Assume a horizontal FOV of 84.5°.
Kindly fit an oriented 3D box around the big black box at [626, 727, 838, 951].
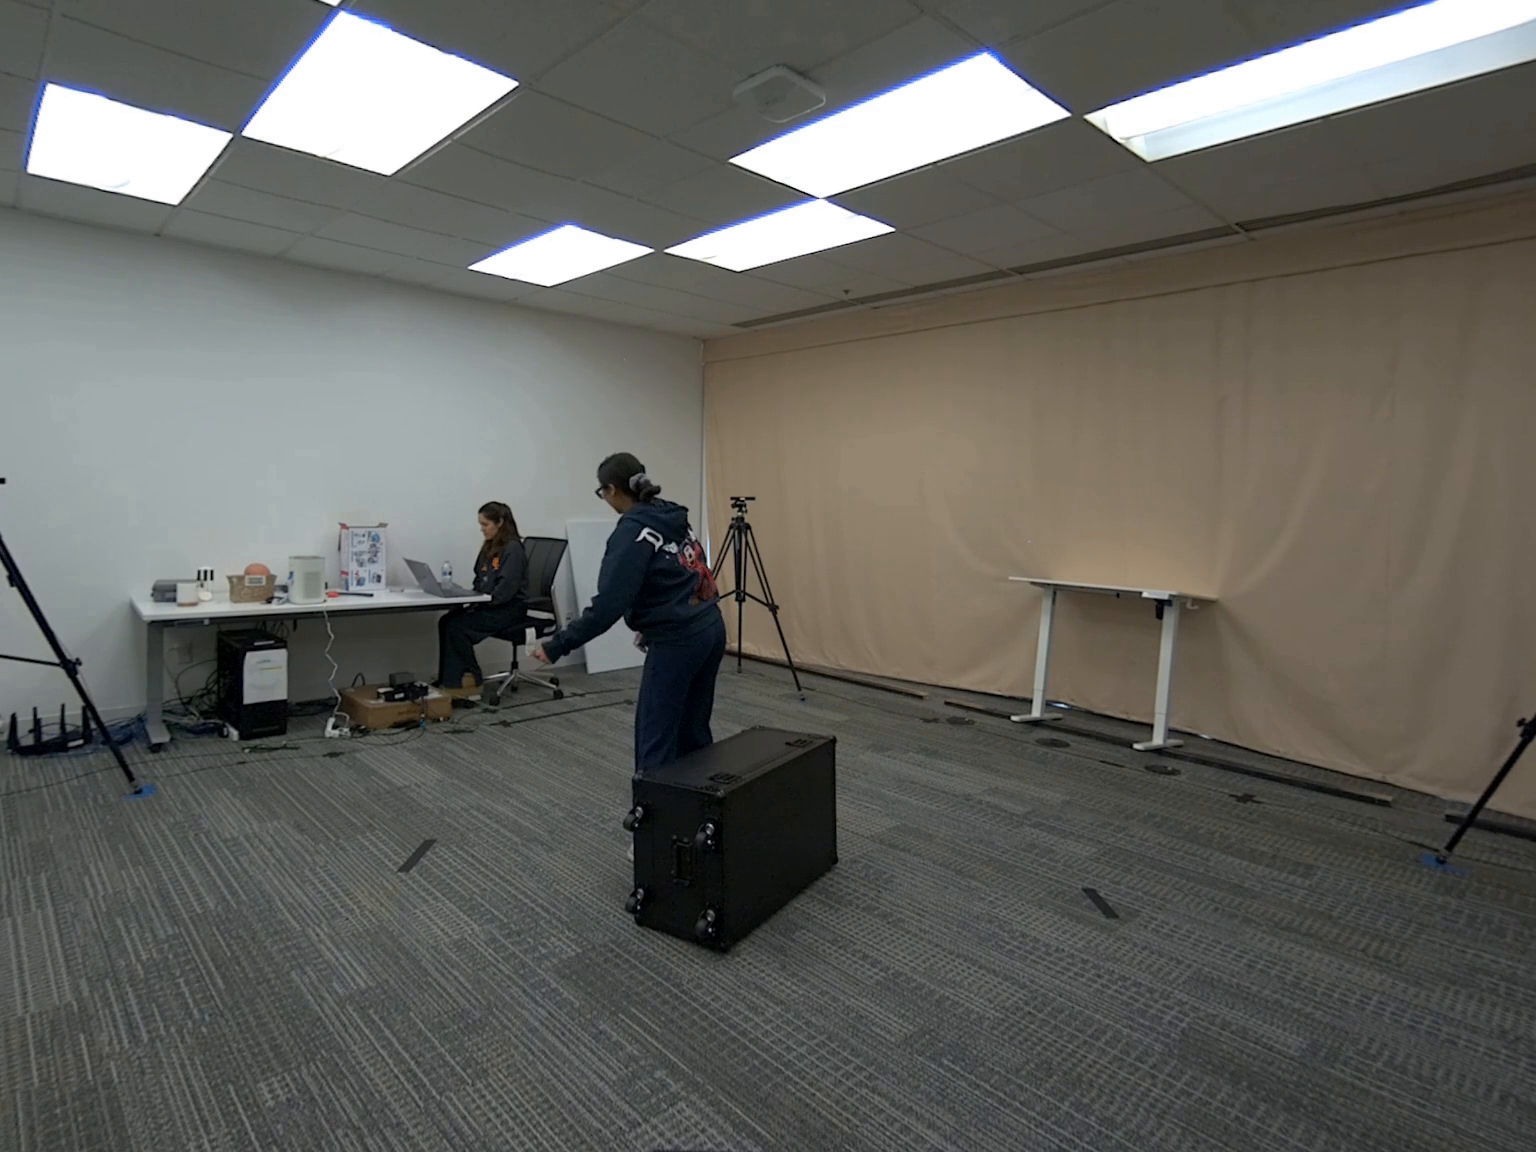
[{"bbox_3d":[-0.120,0.867,2.940,0.405,0.520,0.845,0,3,30],"label":"big black box"}]
